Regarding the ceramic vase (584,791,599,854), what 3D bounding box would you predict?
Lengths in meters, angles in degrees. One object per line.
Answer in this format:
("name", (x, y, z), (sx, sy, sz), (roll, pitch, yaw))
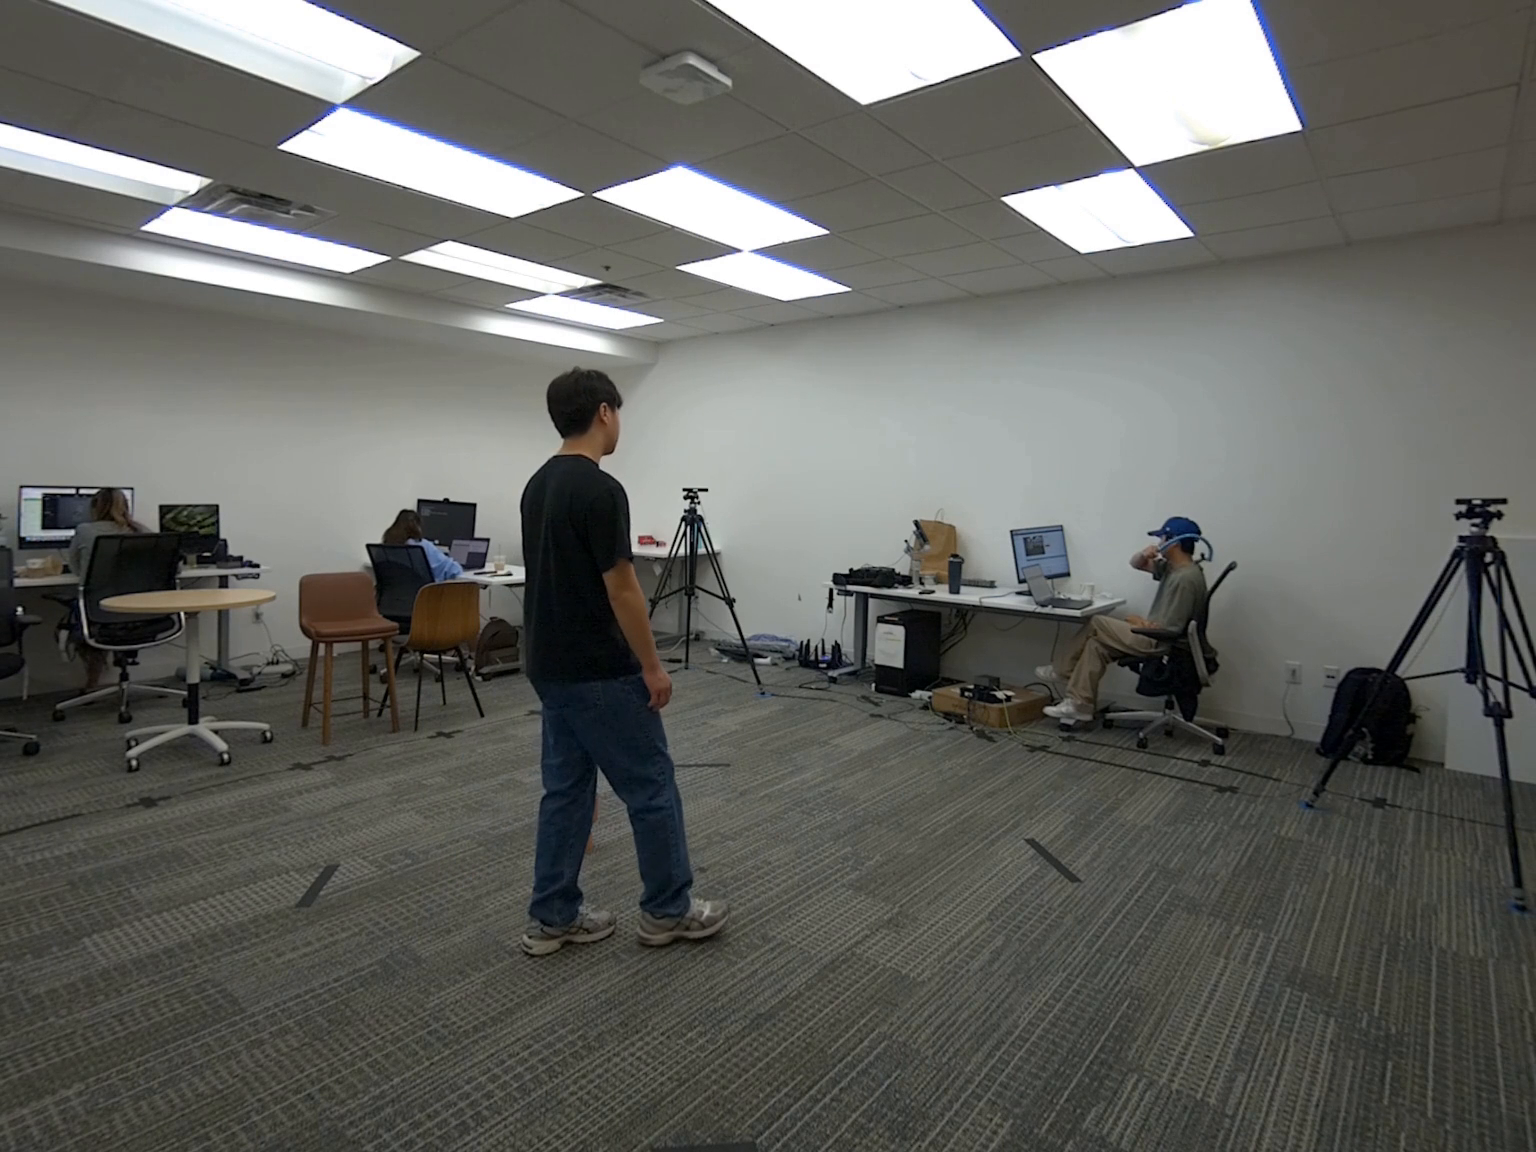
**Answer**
("ceramic vase", (-0.726, 0.924, 3.277), (0.138, 0.219, 0.155), (4, 4, 28))
